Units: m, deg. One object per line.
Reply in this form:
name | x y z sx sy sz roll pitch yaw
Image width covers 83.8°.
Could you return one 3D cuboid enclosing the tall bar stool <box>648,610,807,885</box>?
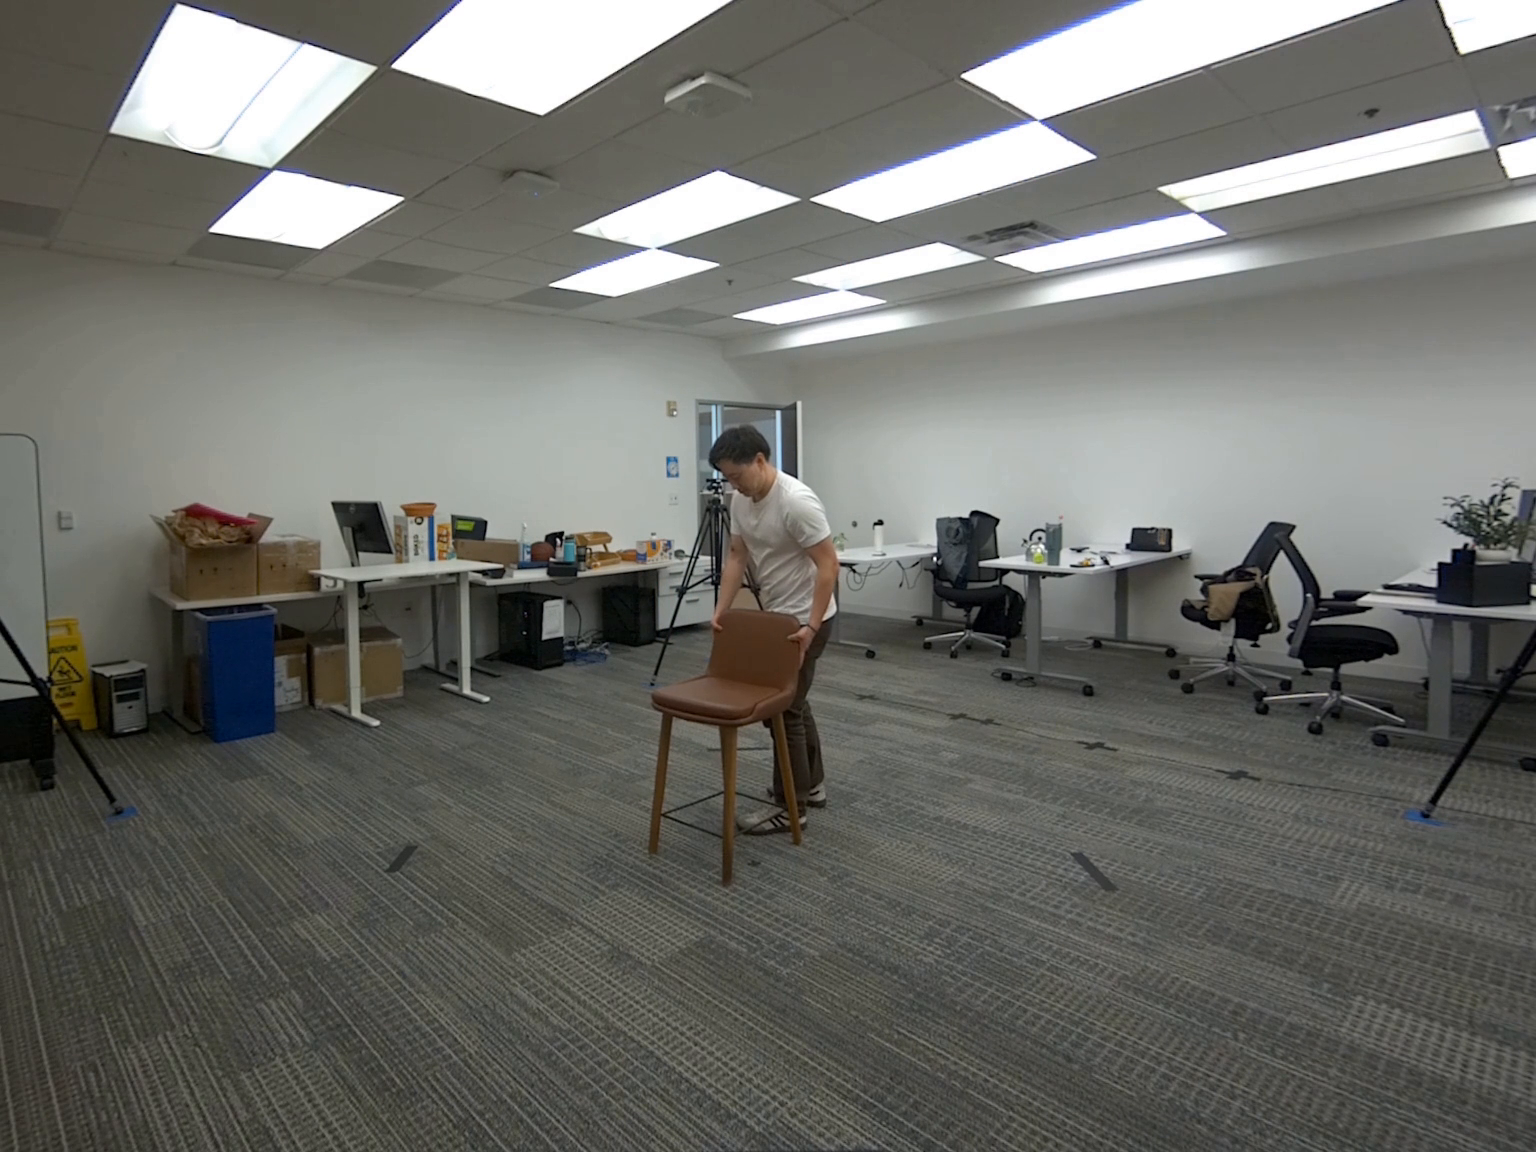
tall bar stool | -0.158 0.593 3.218 0.470 0.889 0.454 2 2 42
